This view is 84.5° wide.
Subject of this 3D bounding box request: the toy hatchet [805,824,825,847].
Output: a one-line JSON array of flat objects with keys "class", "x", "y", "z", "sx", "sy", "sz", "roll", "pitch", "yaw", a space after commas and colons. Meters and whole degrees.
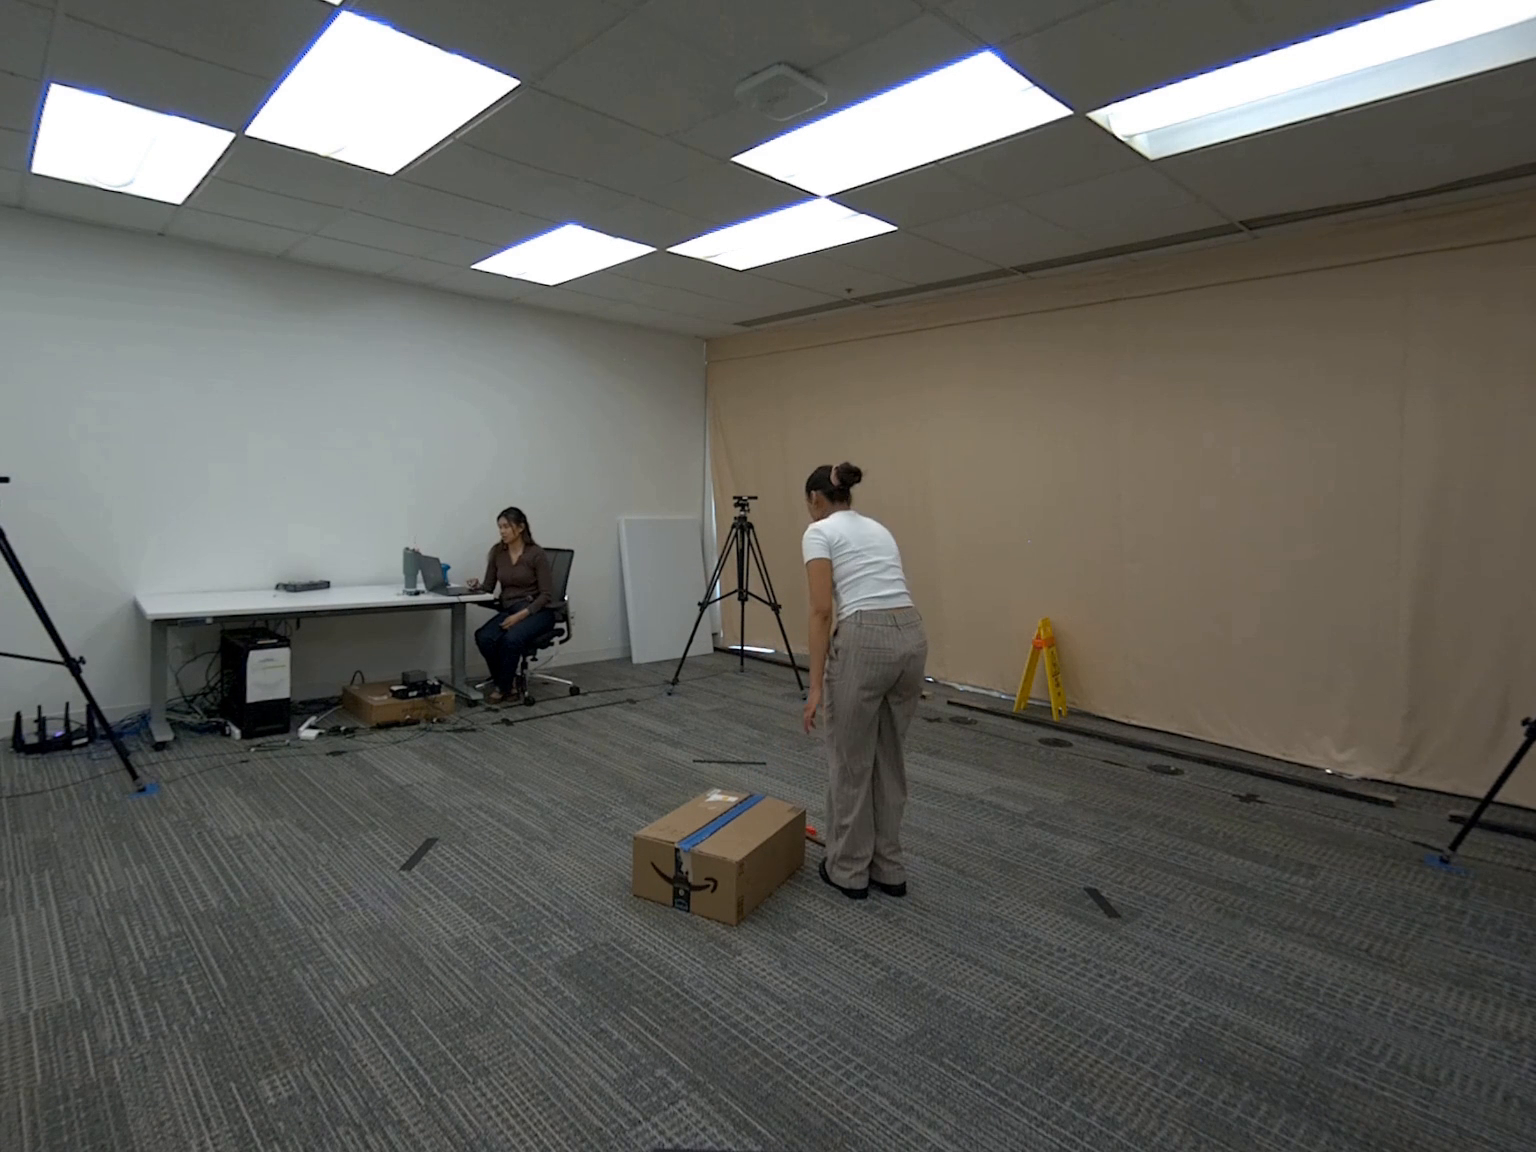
[{"class": "toy hatchet", "x": 0.208, "y": 1.073, "z": 3.450, "sx": 0.277, "sy": 0.029, "sz": 0.128, "roll": 6, "pitch": 4, "yaw": 37}]
